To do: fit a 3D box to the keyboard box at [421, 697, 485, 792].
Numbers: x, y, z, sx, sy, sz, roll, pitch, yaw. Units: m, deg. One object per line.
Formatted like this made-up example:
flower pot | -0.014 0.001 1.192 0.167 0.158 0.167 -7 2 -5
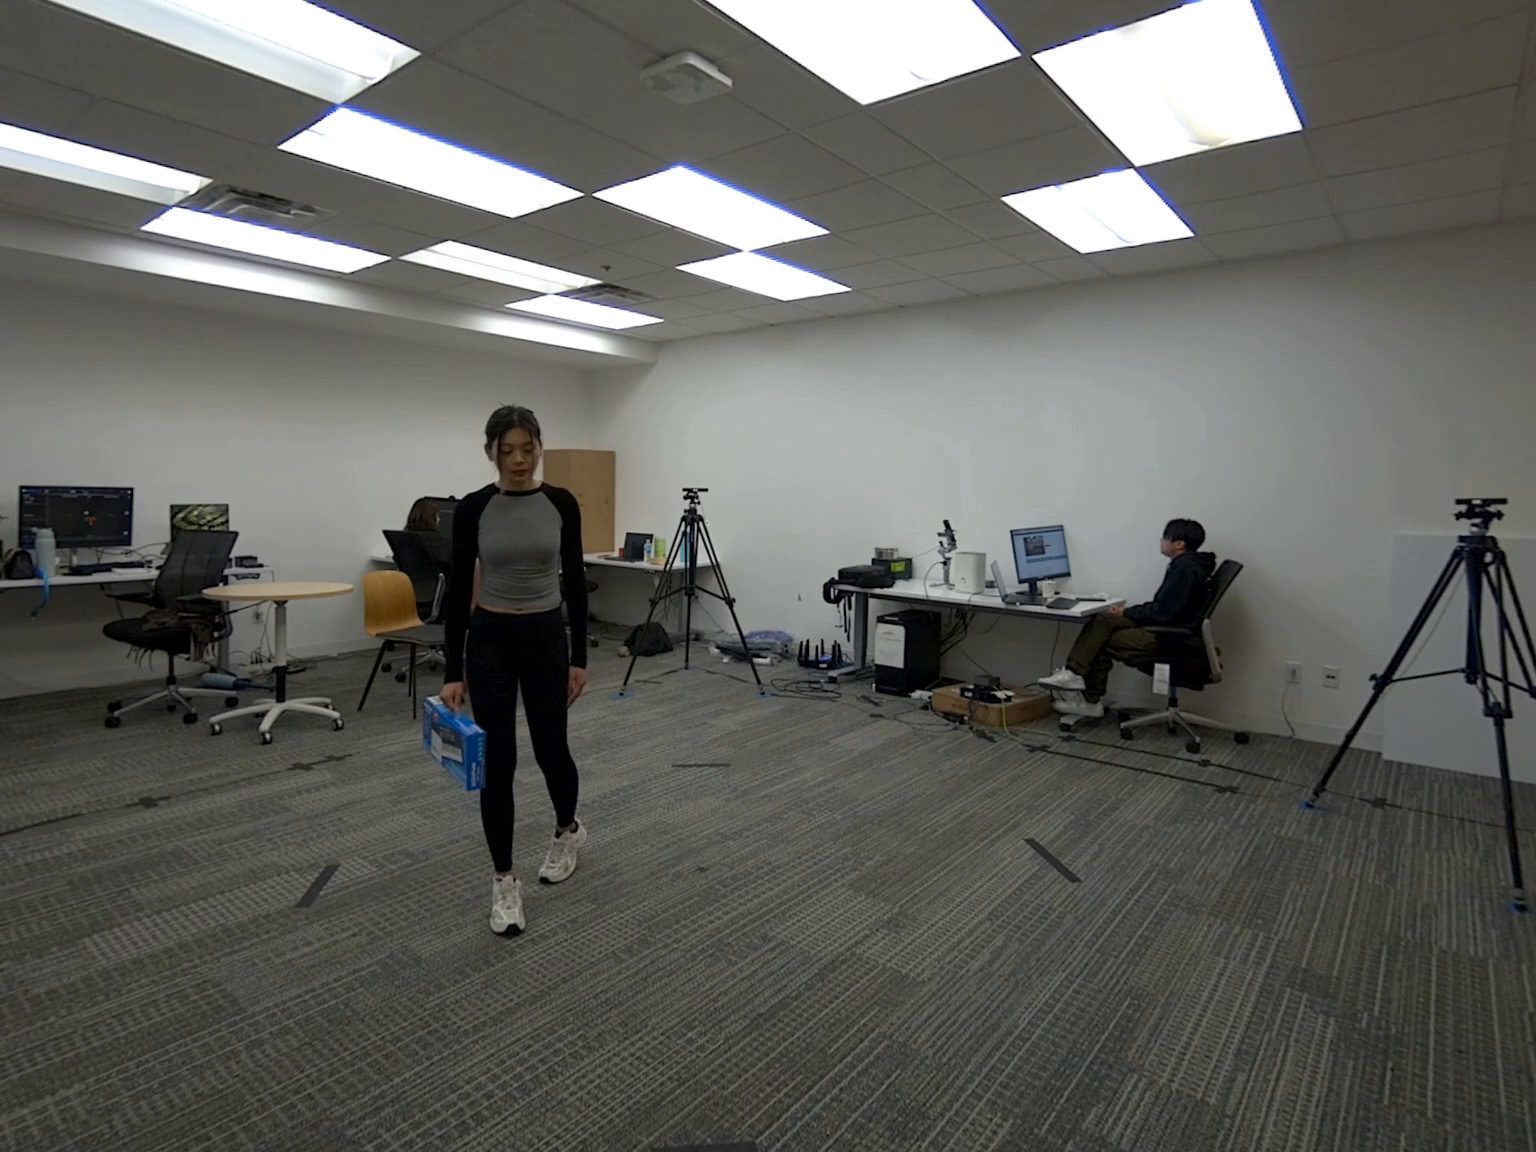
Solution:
keyboard box | -1.010 0.519 2.698 0.057 0.175 0.452 -1 8 -37
